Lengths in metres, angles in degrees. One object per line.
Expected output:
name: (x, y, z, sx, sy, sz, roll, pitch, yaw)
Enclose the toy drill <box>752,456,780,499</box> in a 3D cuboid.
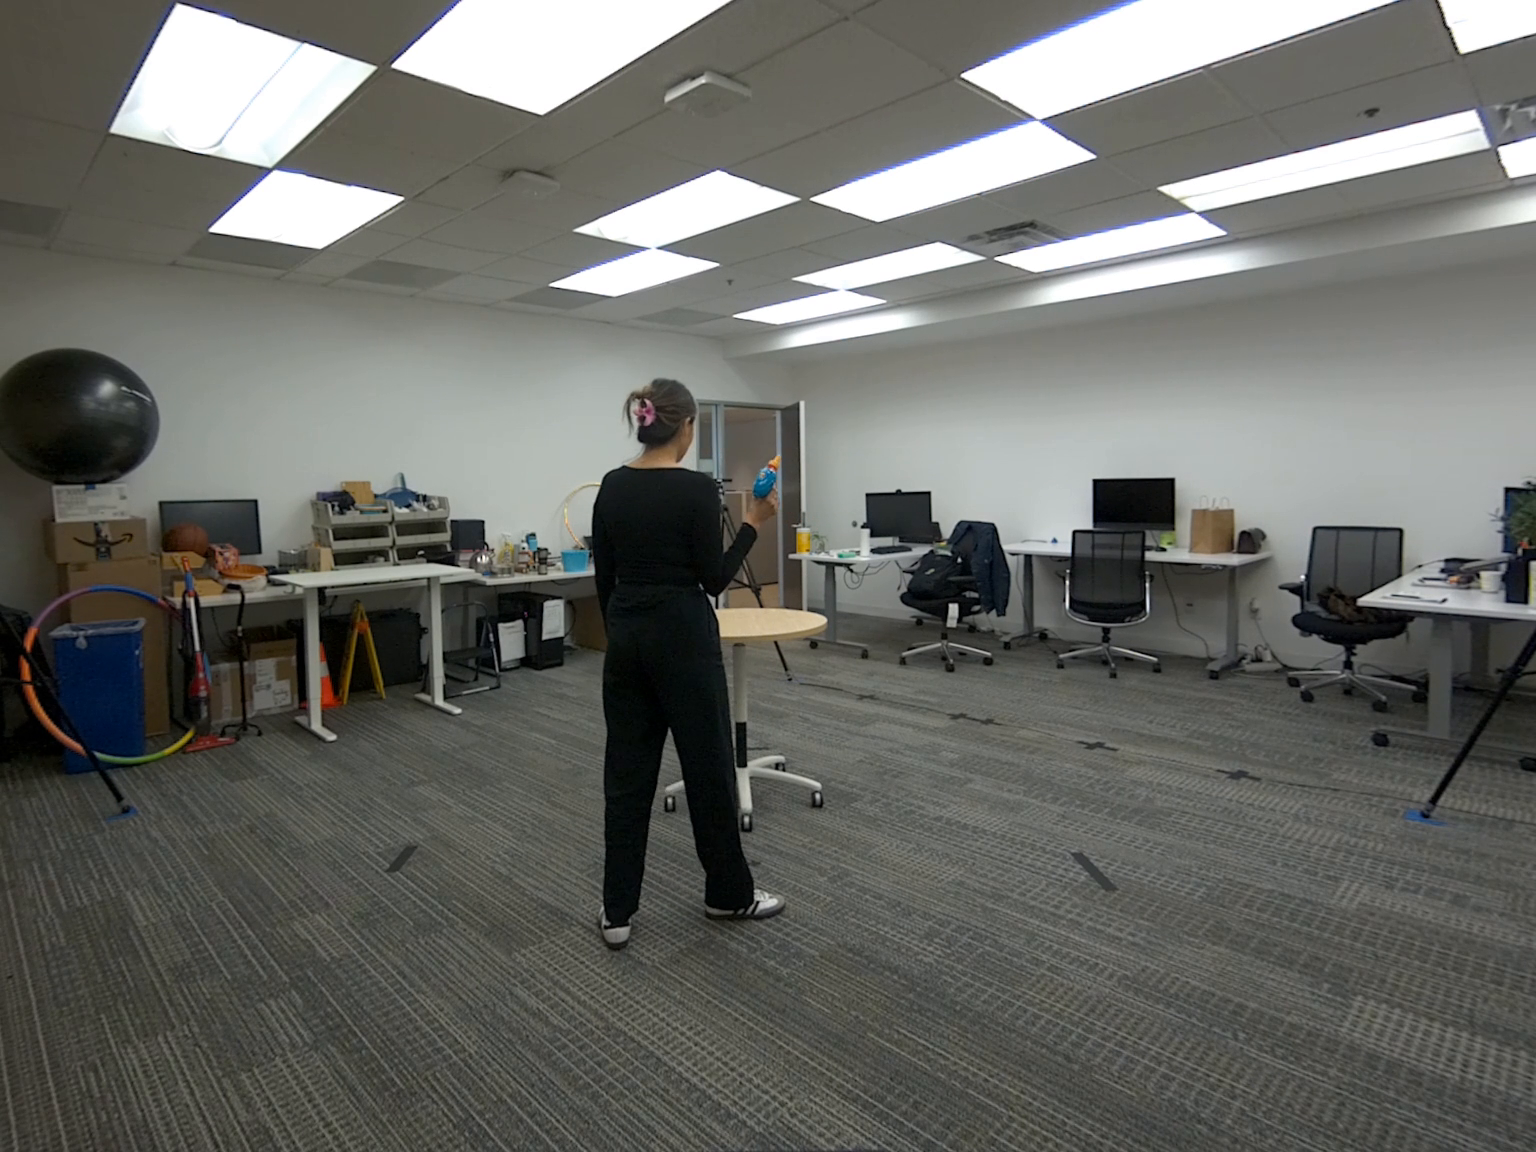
toy drill: (0.004, -0.296, 2.697, 0.062, 0.171, 0.141, 15, -24, 18)
